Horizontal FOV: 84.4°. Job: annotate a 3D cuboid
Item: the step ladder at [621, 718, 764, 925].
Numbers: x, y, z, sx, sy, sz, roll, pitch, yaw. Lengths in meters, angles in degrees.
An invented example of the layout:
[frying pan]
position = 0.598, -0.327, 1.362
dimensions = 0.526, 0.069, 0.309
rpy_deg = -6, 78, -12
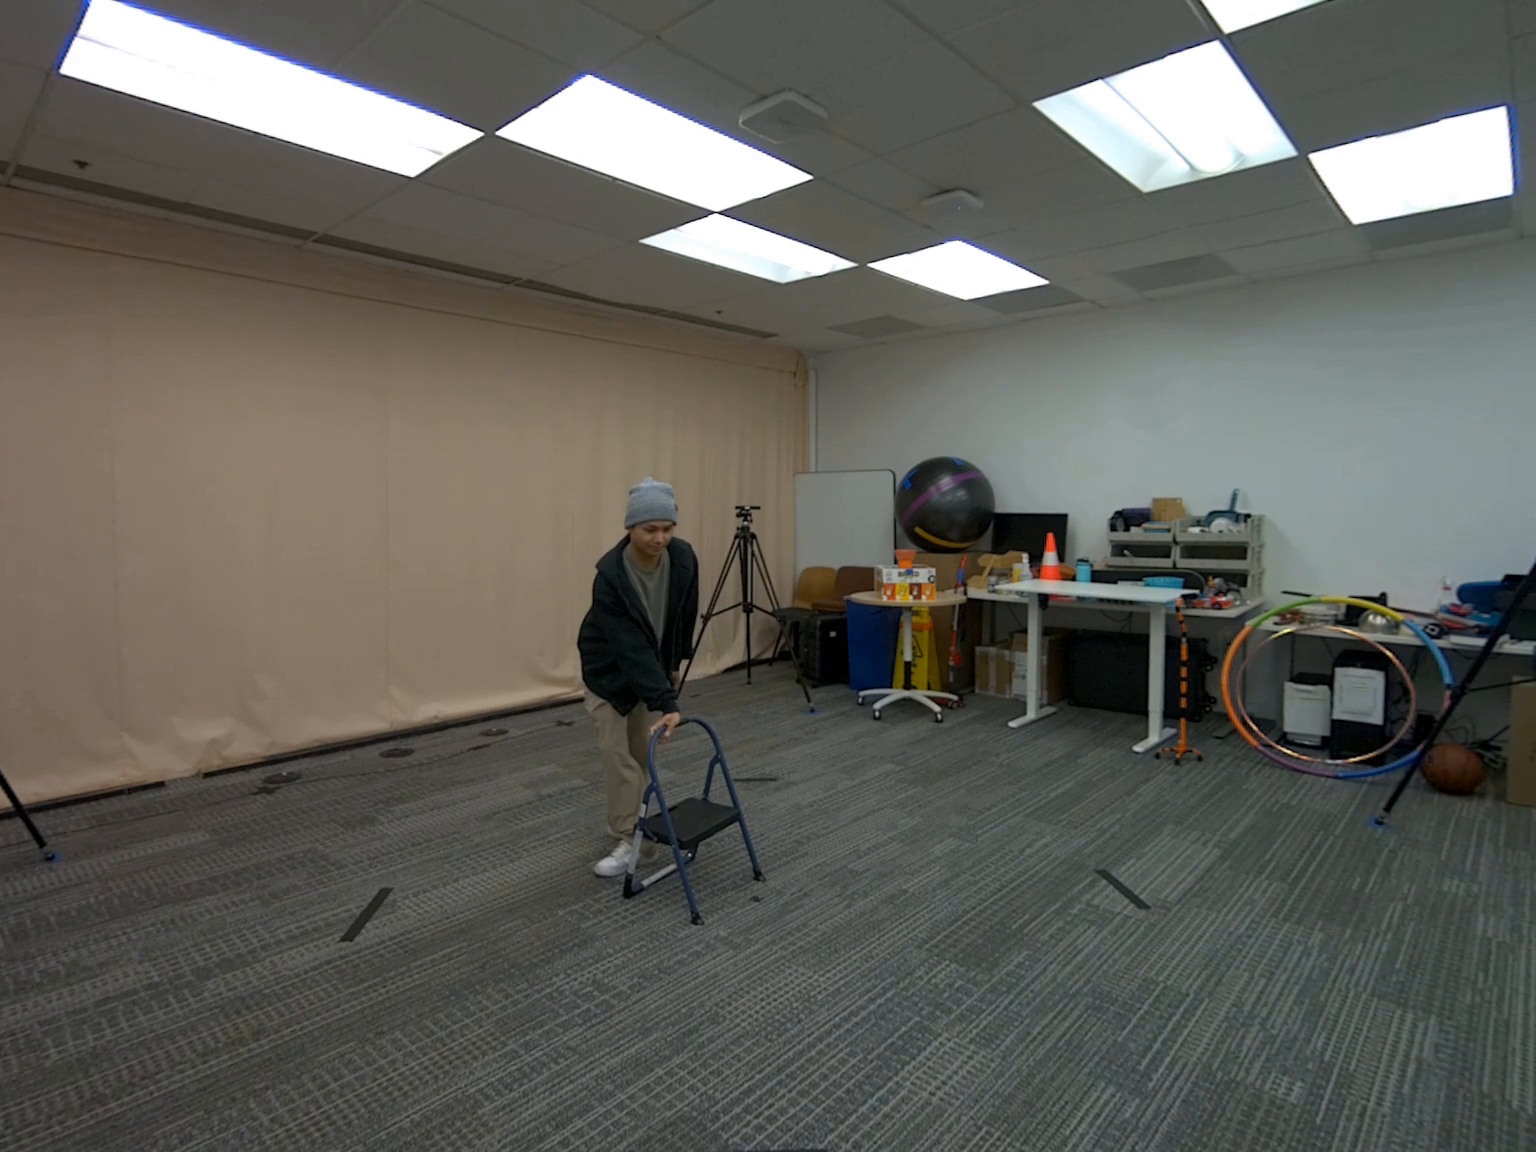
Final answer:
[step ladder]
position = -0.265, 0.836, 3.051
dimensions = 0.360, 0.605, 0.418
rpy_deg = 2, 4, 33
